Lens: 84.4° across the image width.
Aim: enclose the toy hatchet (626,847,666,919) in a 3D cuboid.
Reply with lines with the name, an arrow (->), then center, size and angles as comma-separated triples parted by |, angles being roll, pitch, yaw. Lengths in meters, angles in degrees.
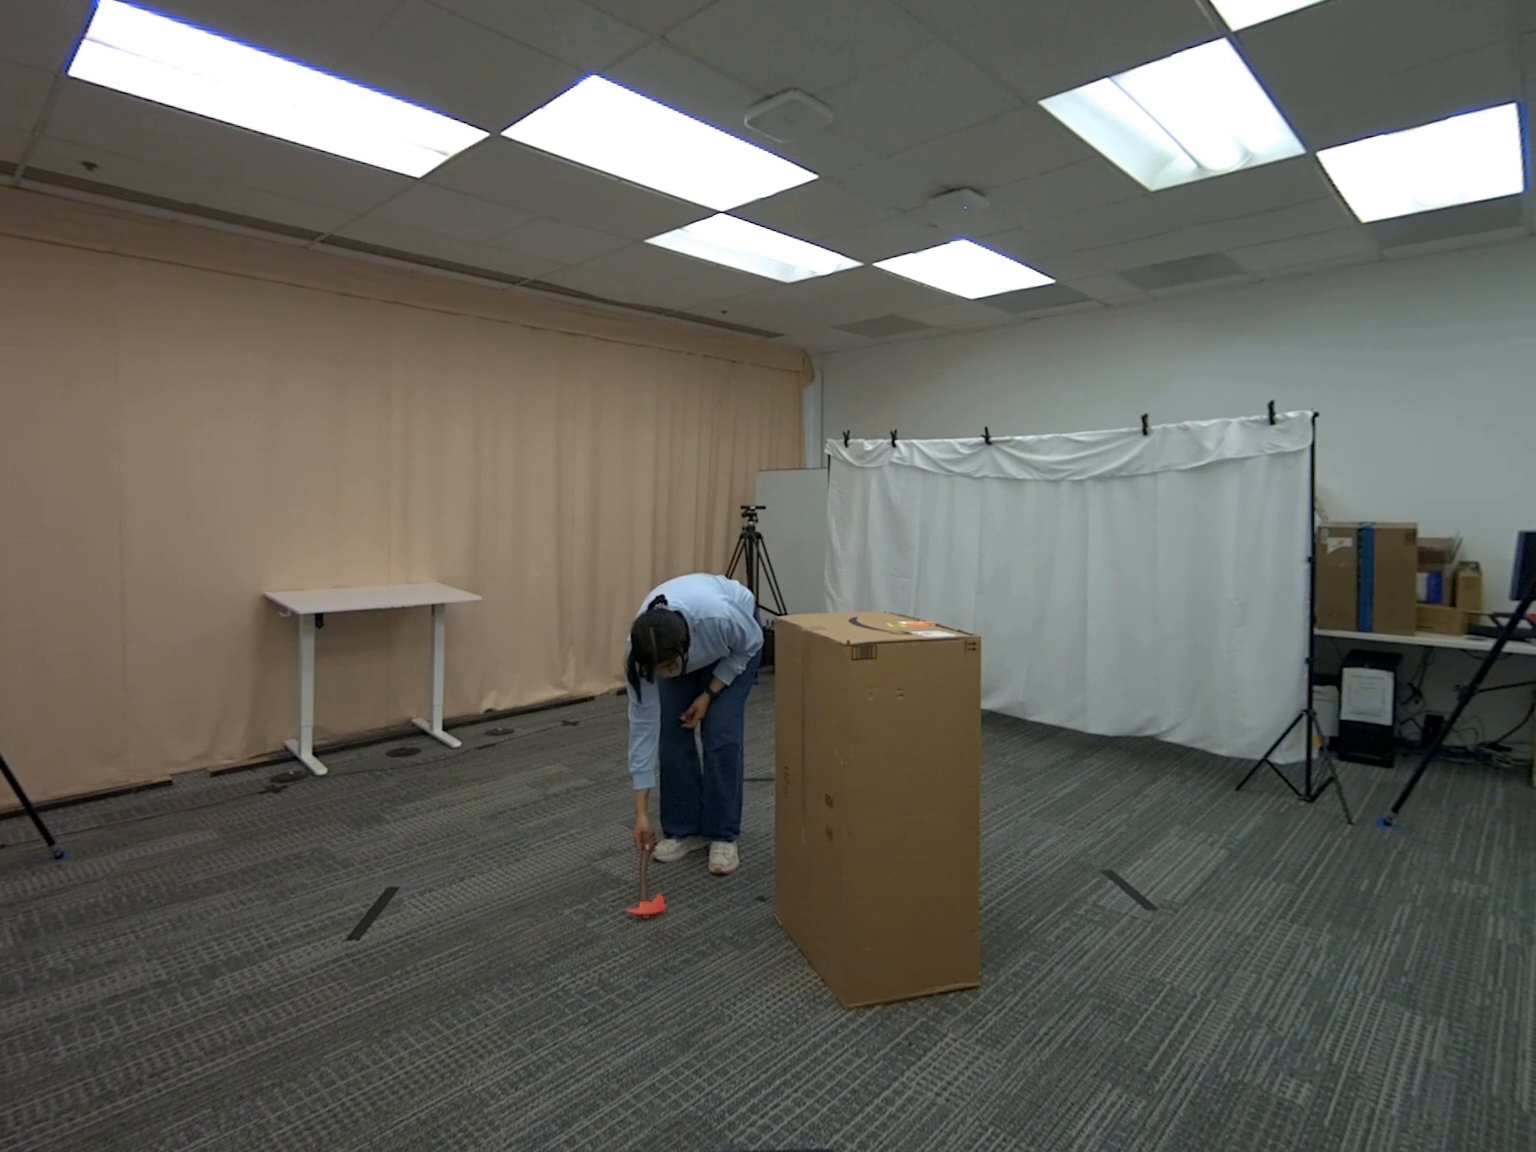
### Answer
toy hatchet -> -0.388, 1.048, 2.925 | 0.132, 0.029, 0.271 | 18, 49, 6
